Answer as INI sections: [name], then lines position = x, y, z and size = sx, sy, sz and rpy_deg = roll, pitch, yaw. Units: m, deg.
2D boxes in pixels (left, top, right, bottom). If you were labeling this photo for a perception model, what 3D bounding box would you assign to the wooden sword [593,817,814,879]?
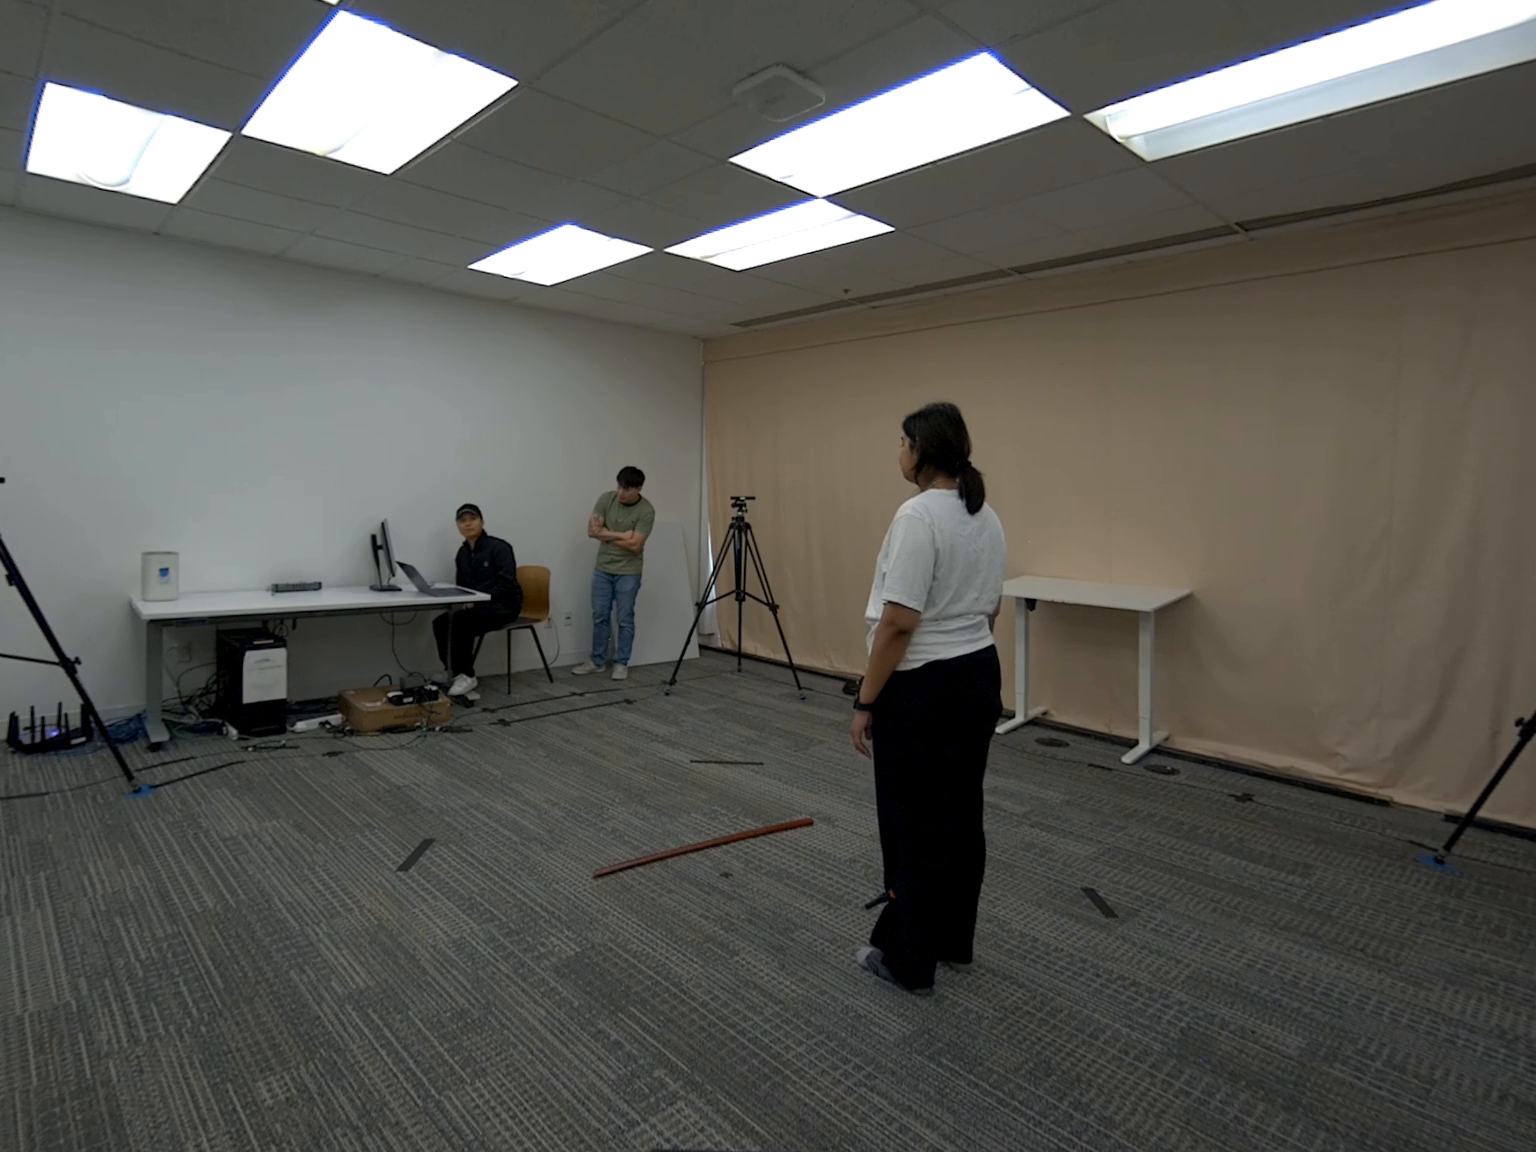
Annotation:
[wooden sword]
position = -0.233, 1.064, 3.345
size = 1.003, 0.024, 0.053
rpy_deg = -2, 37, -35
